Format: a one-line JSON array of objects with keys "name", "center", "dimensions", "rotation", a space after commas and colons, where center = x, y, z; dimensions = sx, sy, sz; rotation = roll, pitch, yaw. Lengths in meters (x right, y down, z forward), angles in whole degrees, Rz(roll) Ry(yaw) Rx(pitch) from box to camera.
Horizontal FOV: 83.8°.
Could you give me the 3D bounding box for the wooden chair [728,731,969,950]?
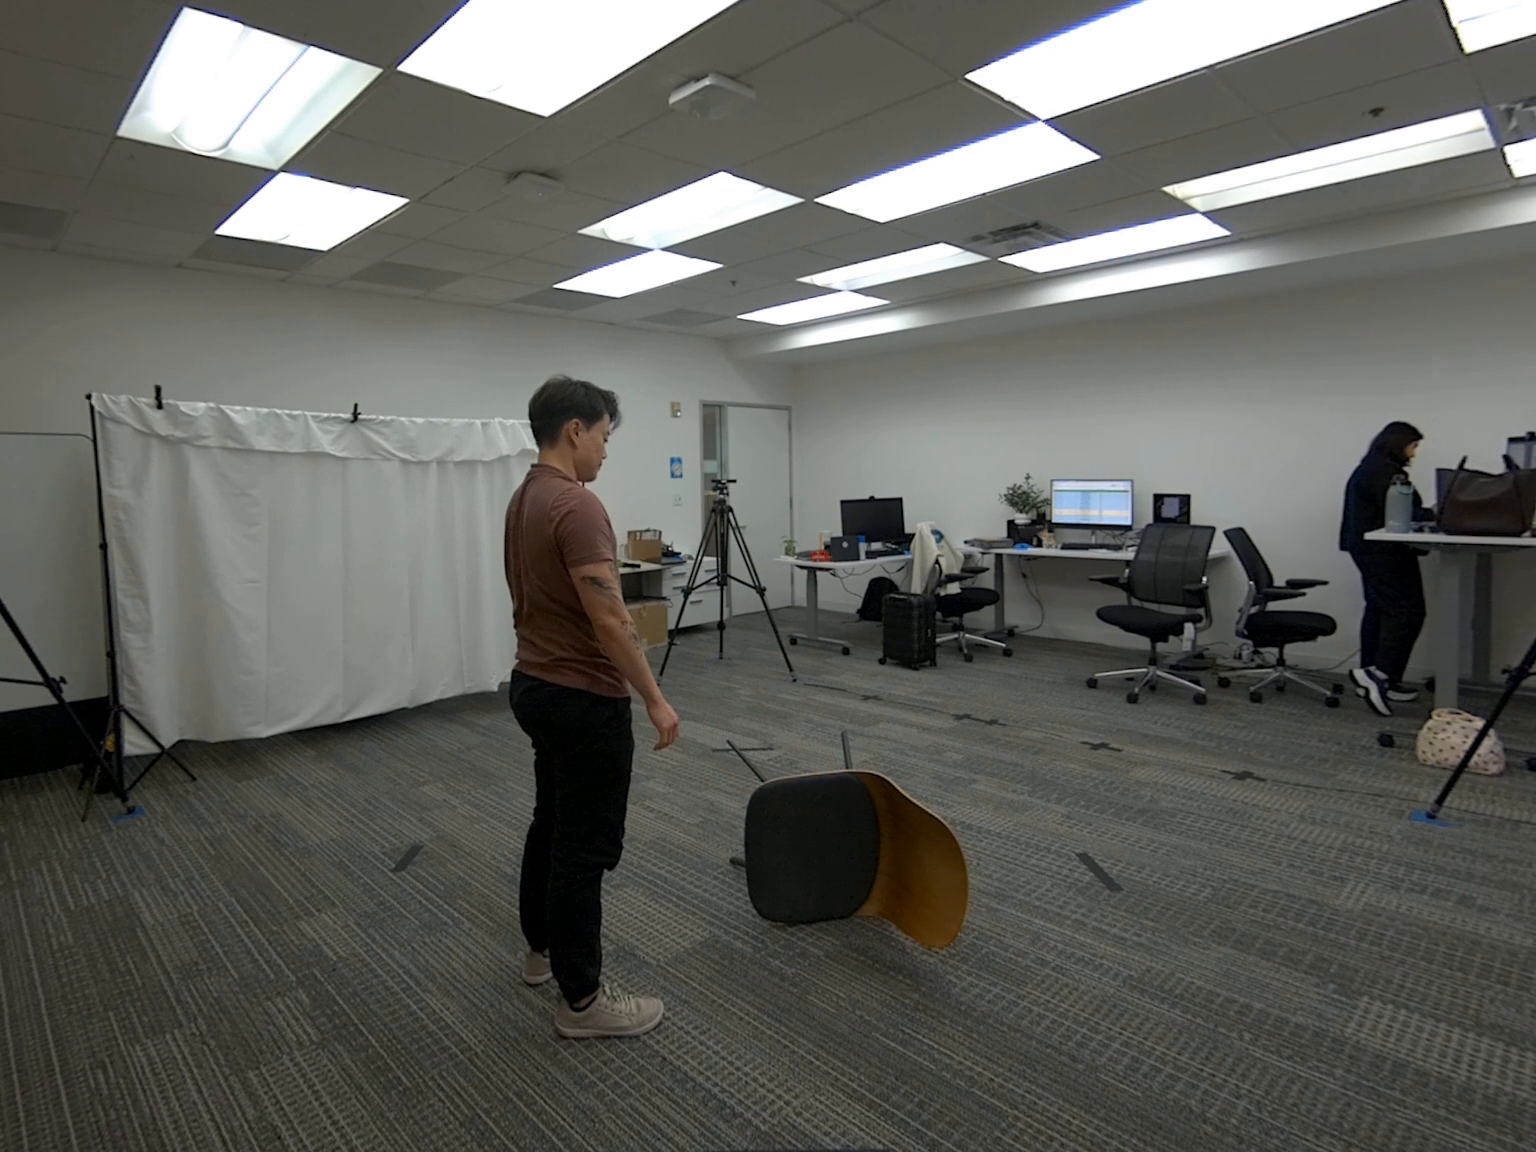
[{"name": "wooden chair", "center": [0.175, 0.855, 2.744], "dimensions": [0.515, 0.476, 0.895], "rotation": [-3, 6, -18]}]
